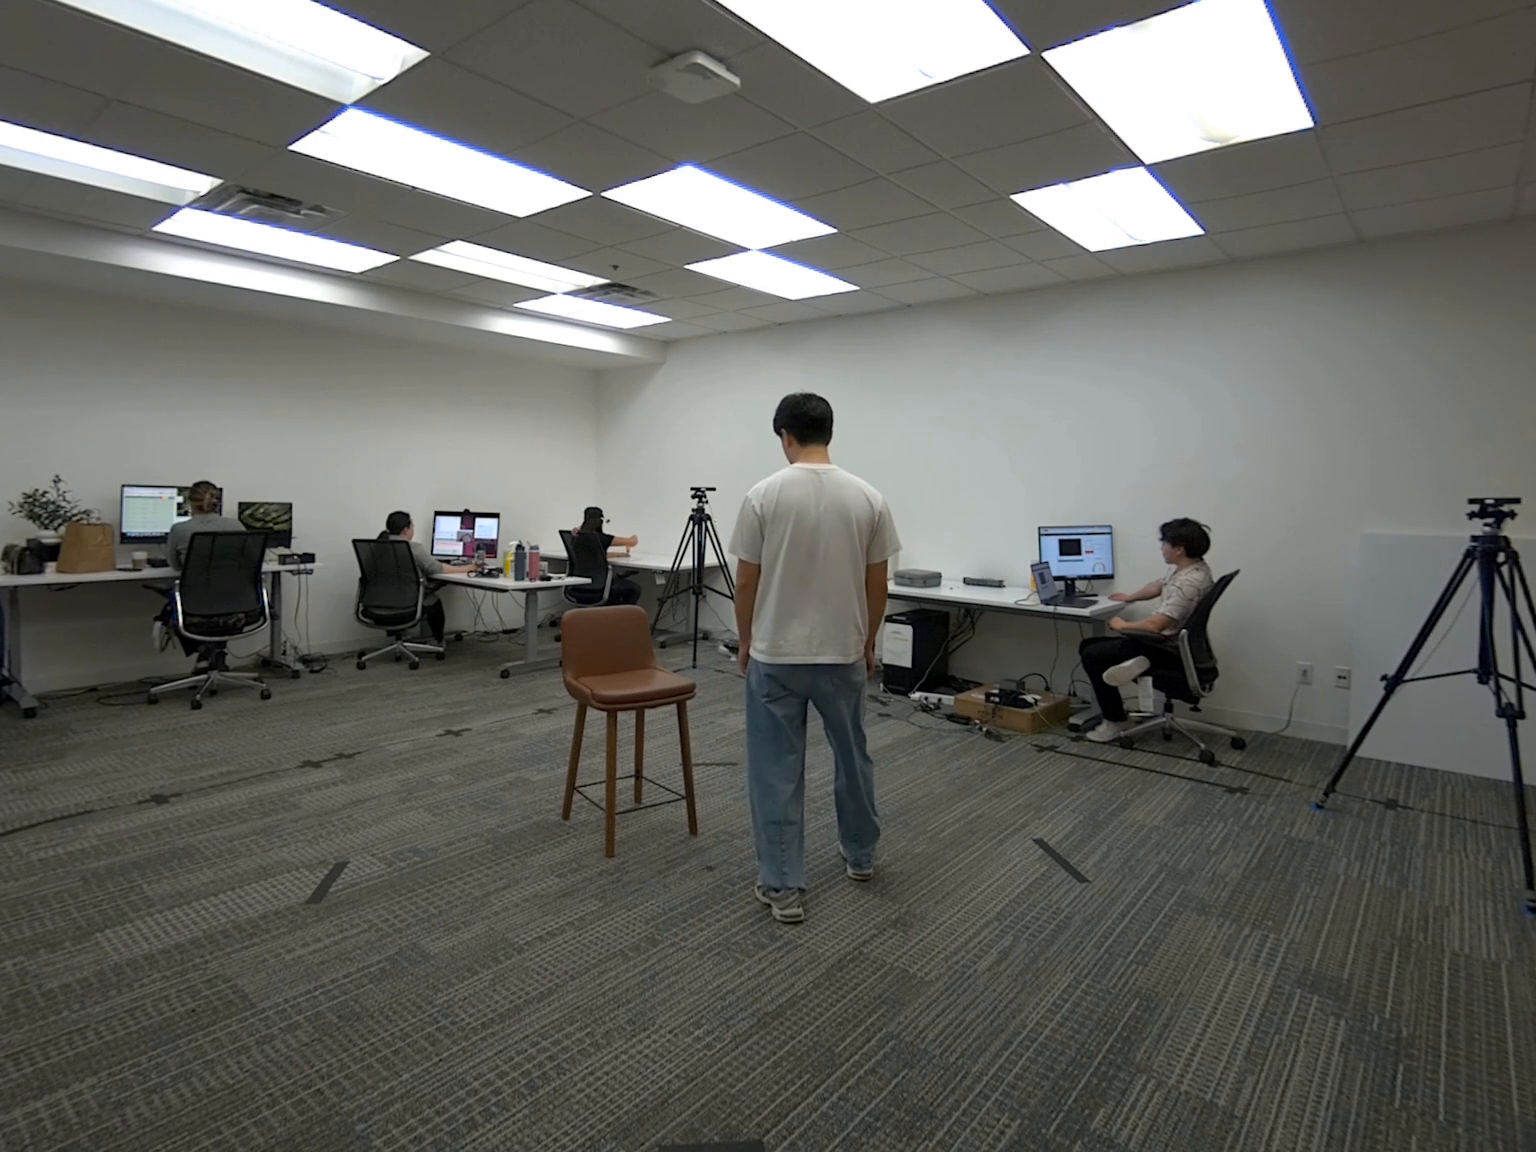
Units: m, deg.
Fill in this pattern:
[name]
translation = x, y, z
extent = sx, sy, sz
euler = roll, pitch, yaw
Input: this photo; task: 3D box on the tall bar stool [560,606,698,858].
[tall bar stool]
translation = -0.588, 0.588, 3.465
extent = 0.443, 0.889, 0.482
euler = -1, 2, -38
